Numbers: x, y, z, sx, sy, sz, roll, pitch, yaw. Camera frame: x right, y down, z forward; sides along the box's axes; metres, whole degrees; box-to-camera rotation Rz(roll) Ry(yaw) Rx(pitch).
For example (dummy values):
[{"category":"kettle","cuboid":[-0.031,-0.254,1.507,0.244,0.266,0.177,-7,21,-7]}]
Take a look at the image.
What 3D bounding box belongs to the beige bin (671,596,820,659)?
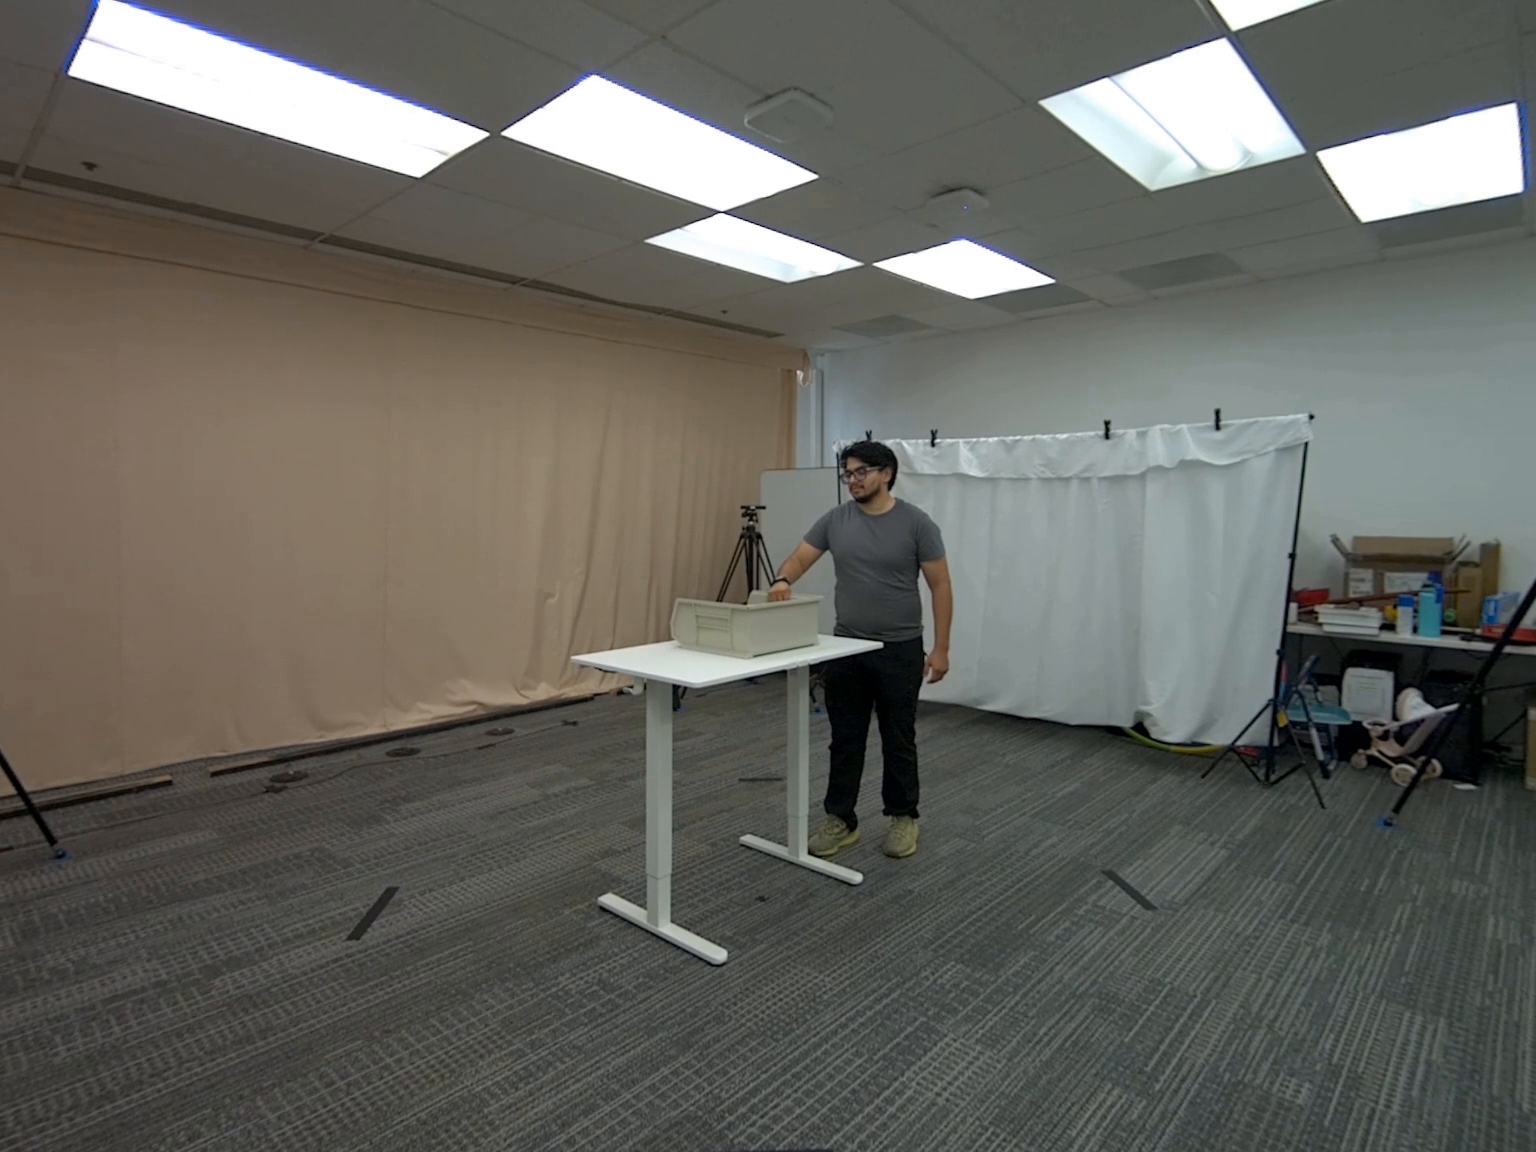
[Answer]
[{"category":"beige bin","cuboid":[-0.074,0.164,3.053,0.390,0.188,0.409,6,7,41]}]
